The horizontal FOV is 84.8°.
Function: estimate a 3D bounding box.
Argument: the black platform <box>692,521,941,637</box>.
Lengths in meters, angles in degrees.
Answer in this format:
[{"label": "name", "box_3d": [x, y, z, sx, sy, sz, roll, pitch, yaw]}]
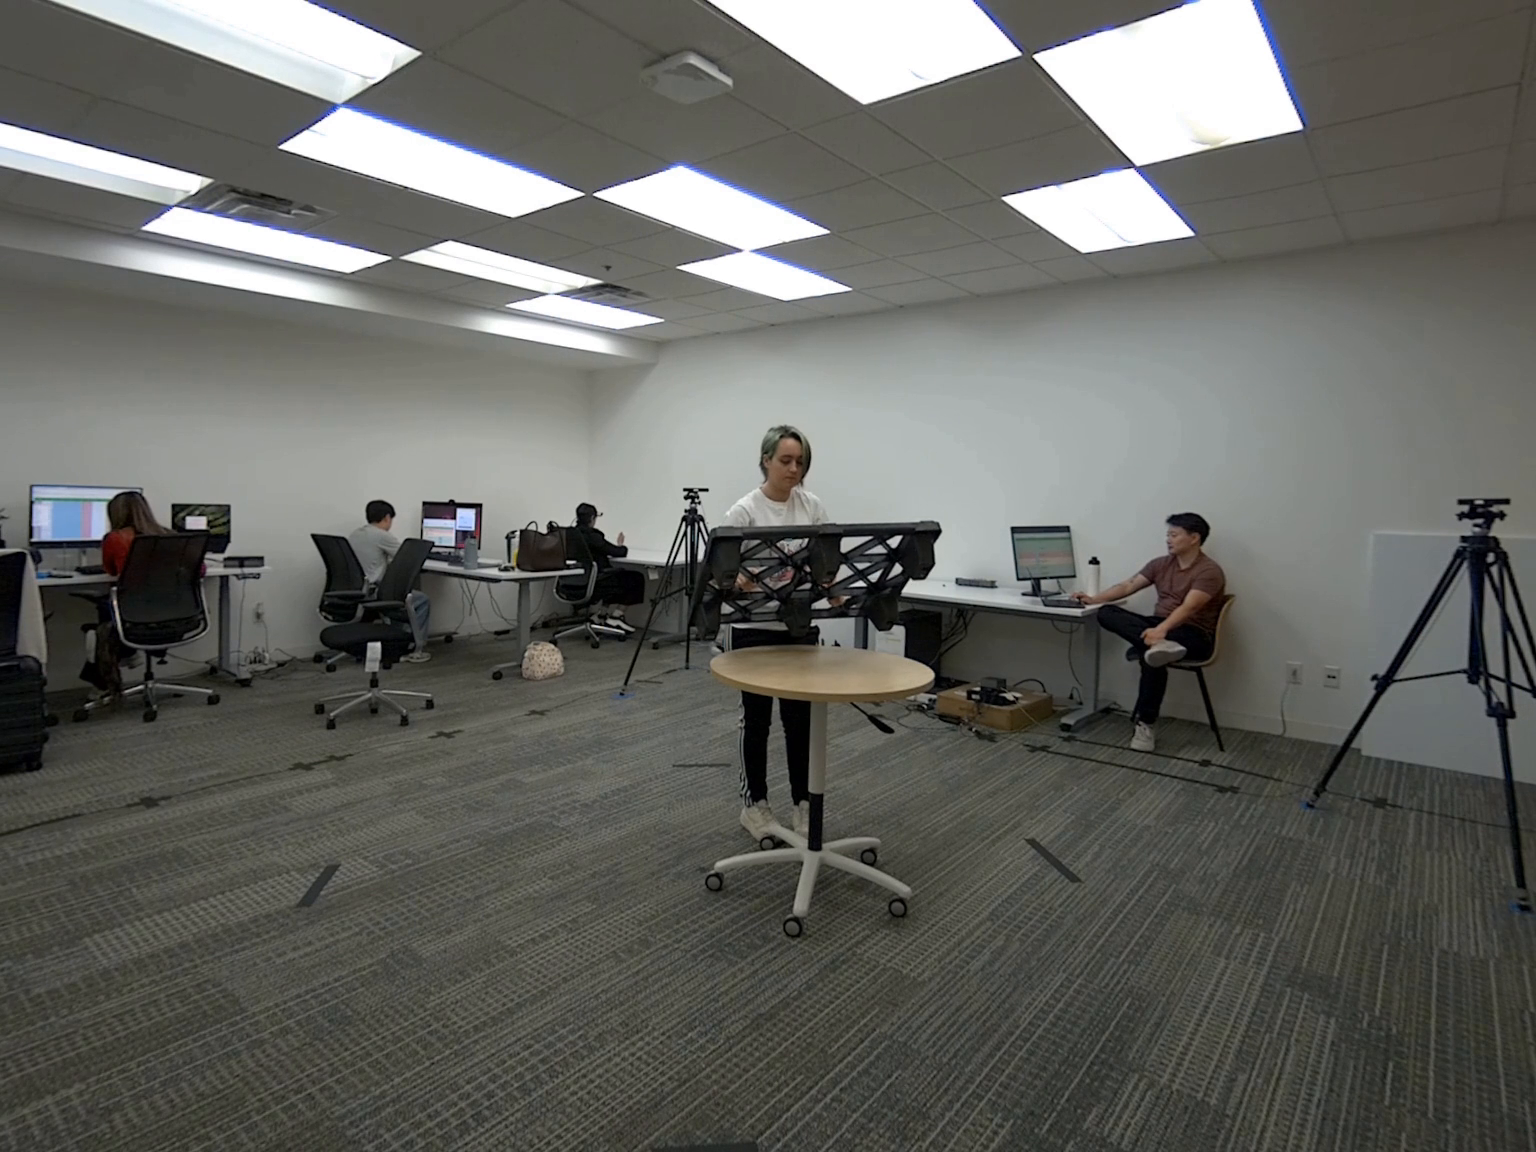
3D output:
[{"label": "black platform", "box_3d": [0.133, 0.043, 3.000, 0.795, 0.148, 0.594, -2, -33, -13]}]
